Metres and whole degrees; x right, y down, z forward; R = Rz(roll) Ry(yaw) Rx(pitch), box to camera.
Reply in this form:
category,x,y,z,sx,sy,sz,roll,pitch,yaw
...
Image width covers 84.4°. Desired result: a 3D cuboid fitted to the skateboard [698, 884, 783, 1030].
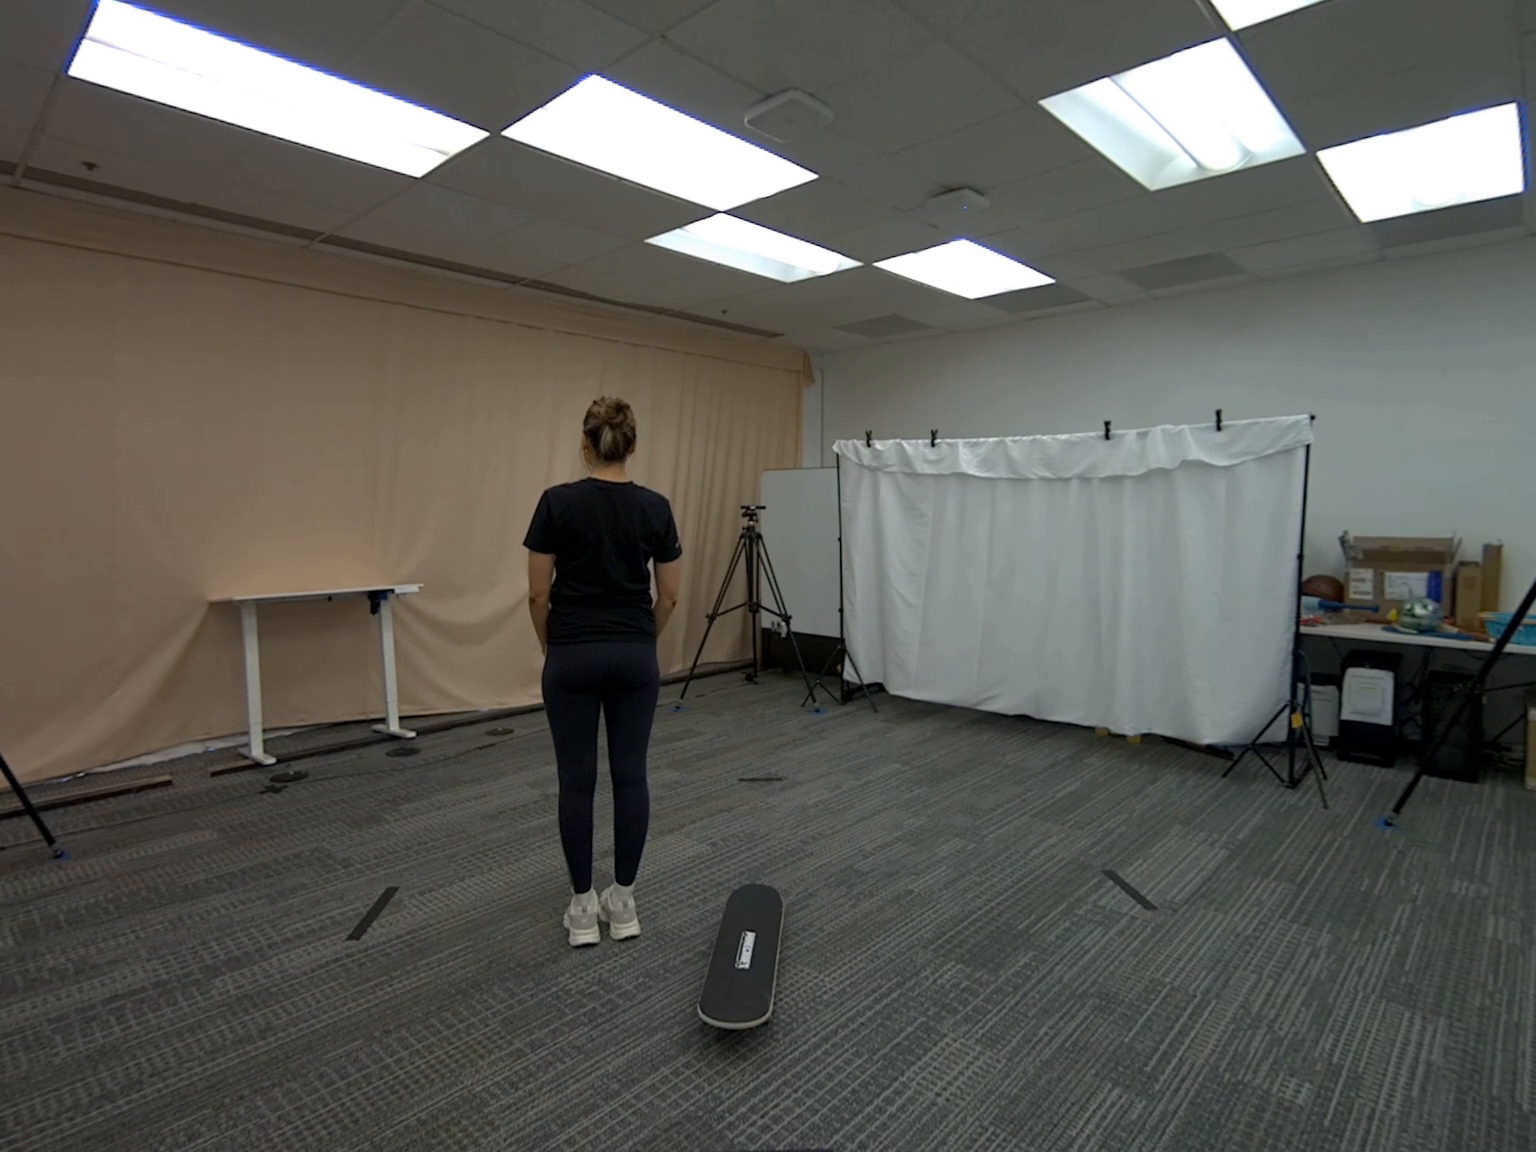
category,x,y,z,sx,sy,sz,roll,pitch,yaw
skateboard,-0.063,1.128,2.477,0.195,0.110,0.782,0,5,4
